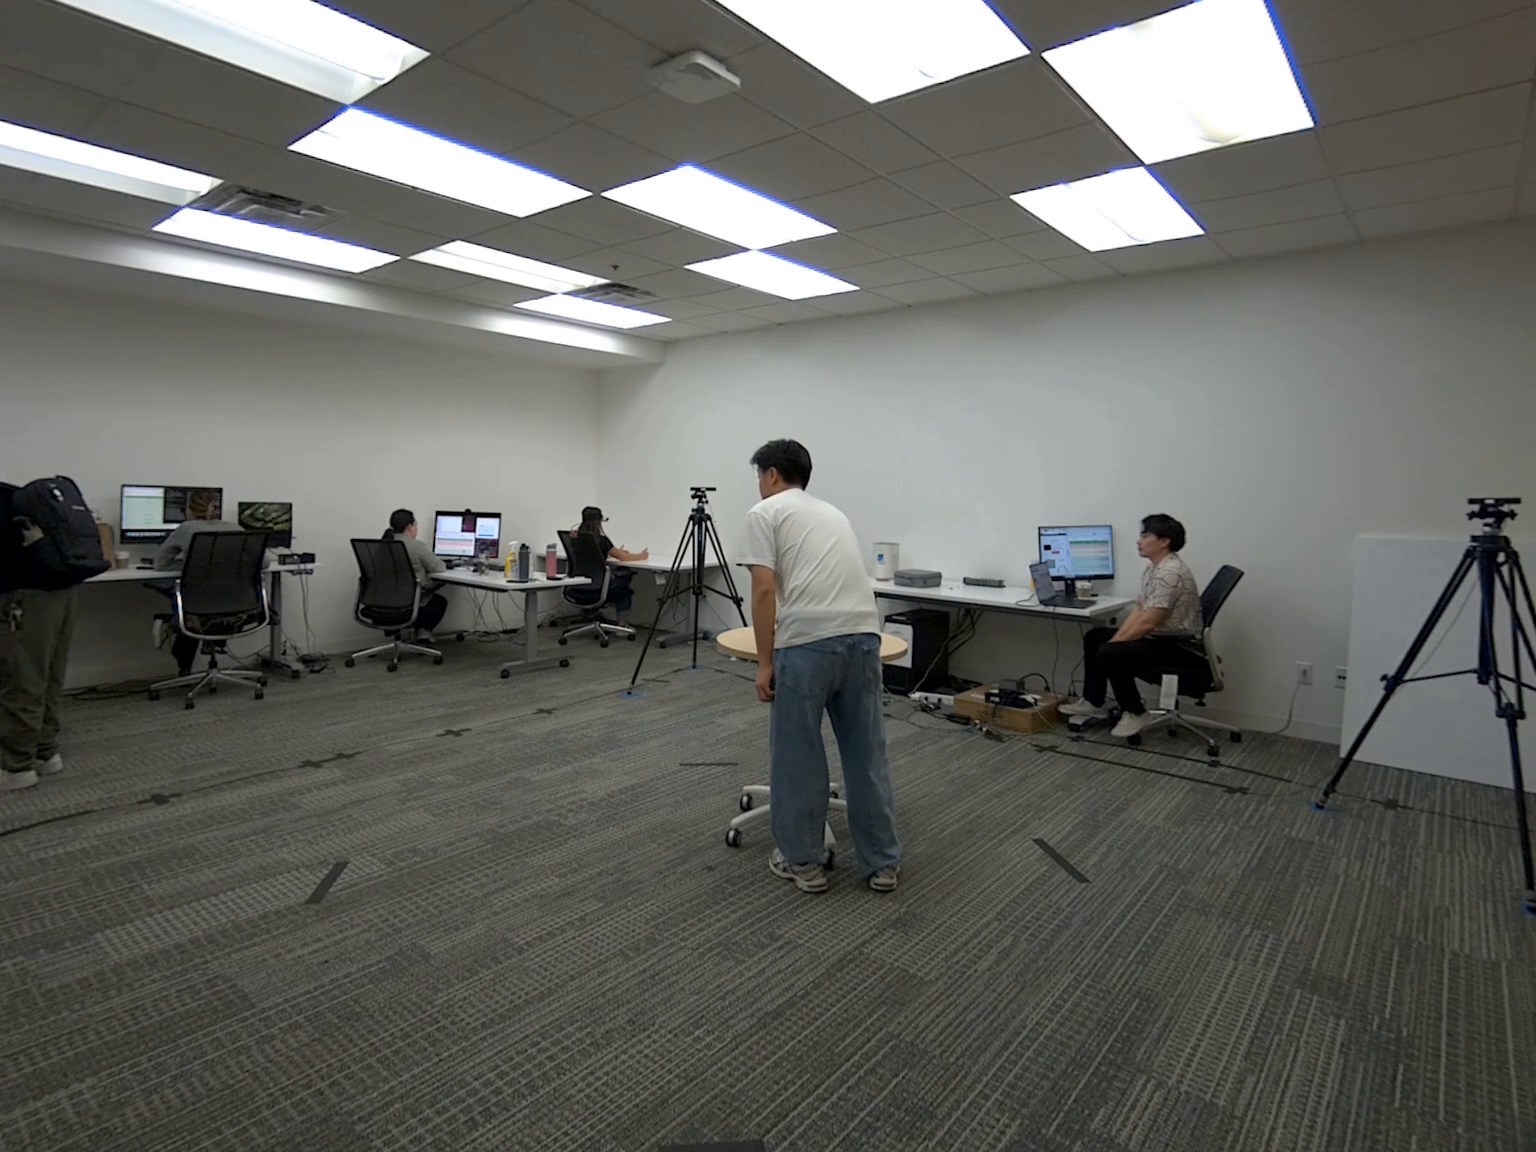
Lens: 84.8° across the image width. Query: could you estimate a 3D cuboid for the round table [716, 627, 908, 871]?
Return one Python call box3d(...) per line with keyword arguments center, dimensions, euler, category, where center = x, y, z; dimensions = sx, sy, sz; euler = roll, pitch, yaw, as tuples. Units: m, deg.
box3d(center=(0.145, 0.645, 3.466), dimensions=(0.763, 0.791, 0.768), euler=(1, 4, -2), category="round table")
